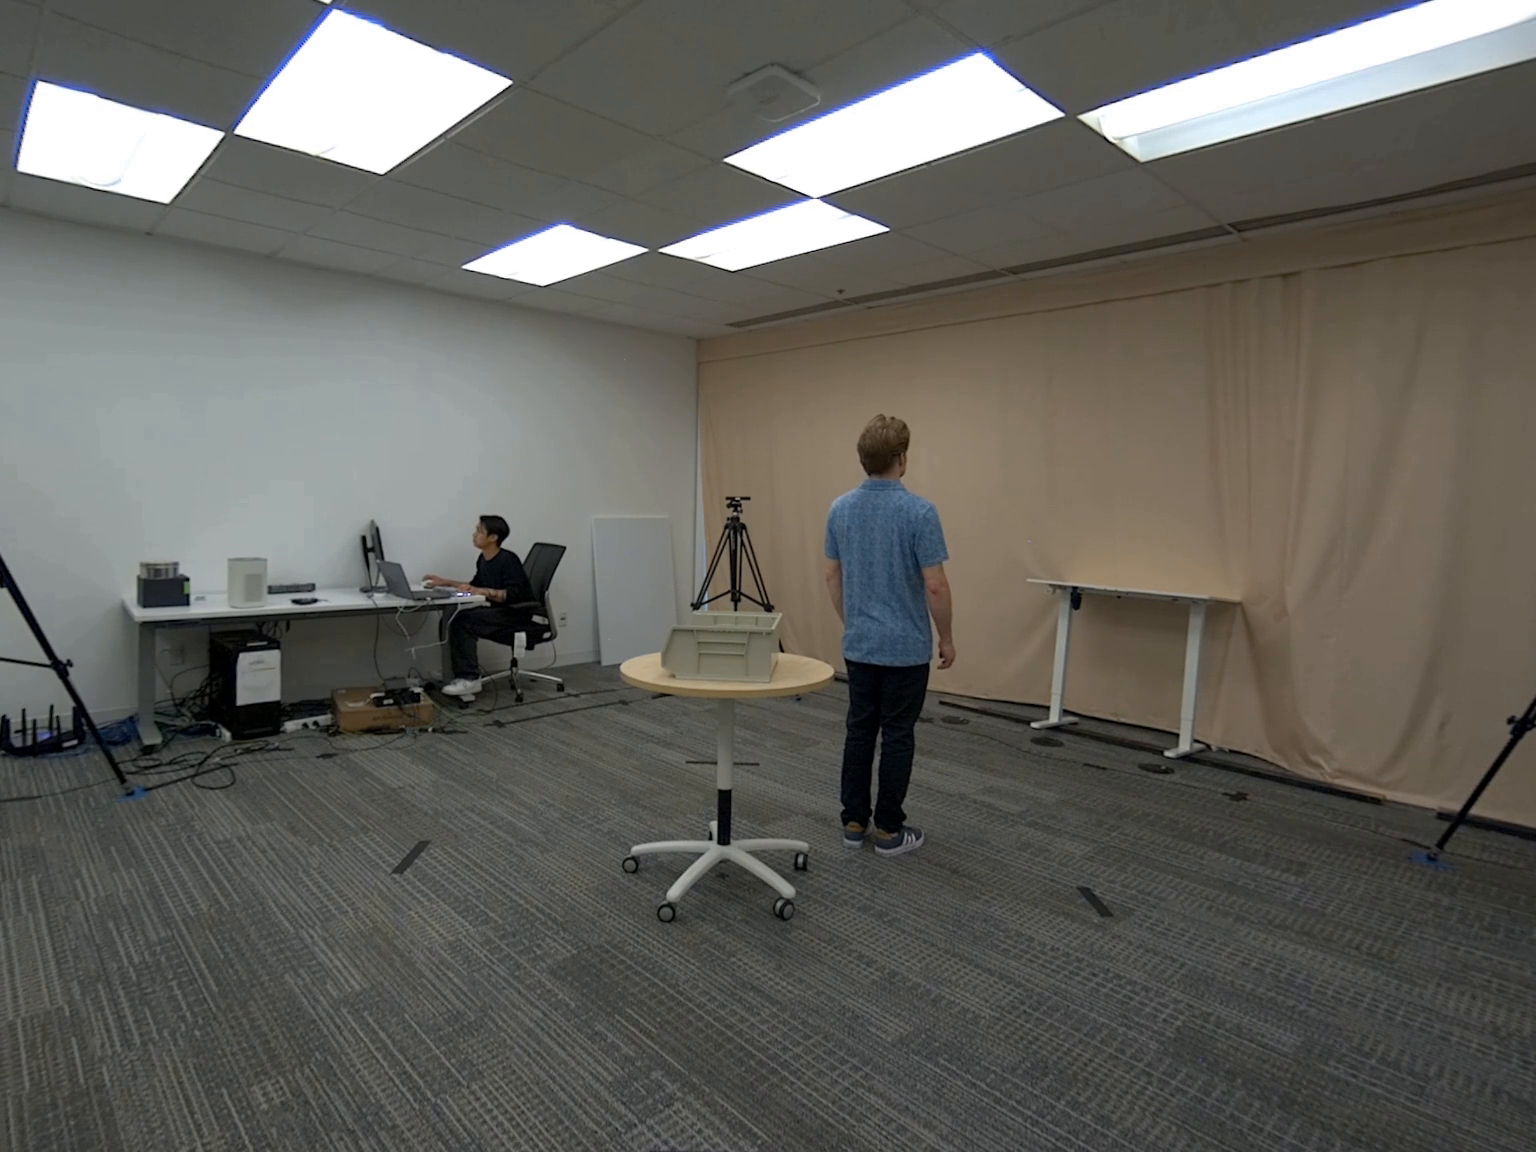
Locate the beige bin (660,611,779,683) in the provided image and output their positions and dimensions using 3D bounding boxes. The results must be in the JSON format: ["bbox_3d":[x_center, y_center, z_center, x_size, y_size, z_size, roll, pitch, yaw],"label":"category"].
[{"bbox_3d":[-0.174,0.241,2.974,0.379,0.188,0.421,4,5,5],"label":"beige bin"}]
